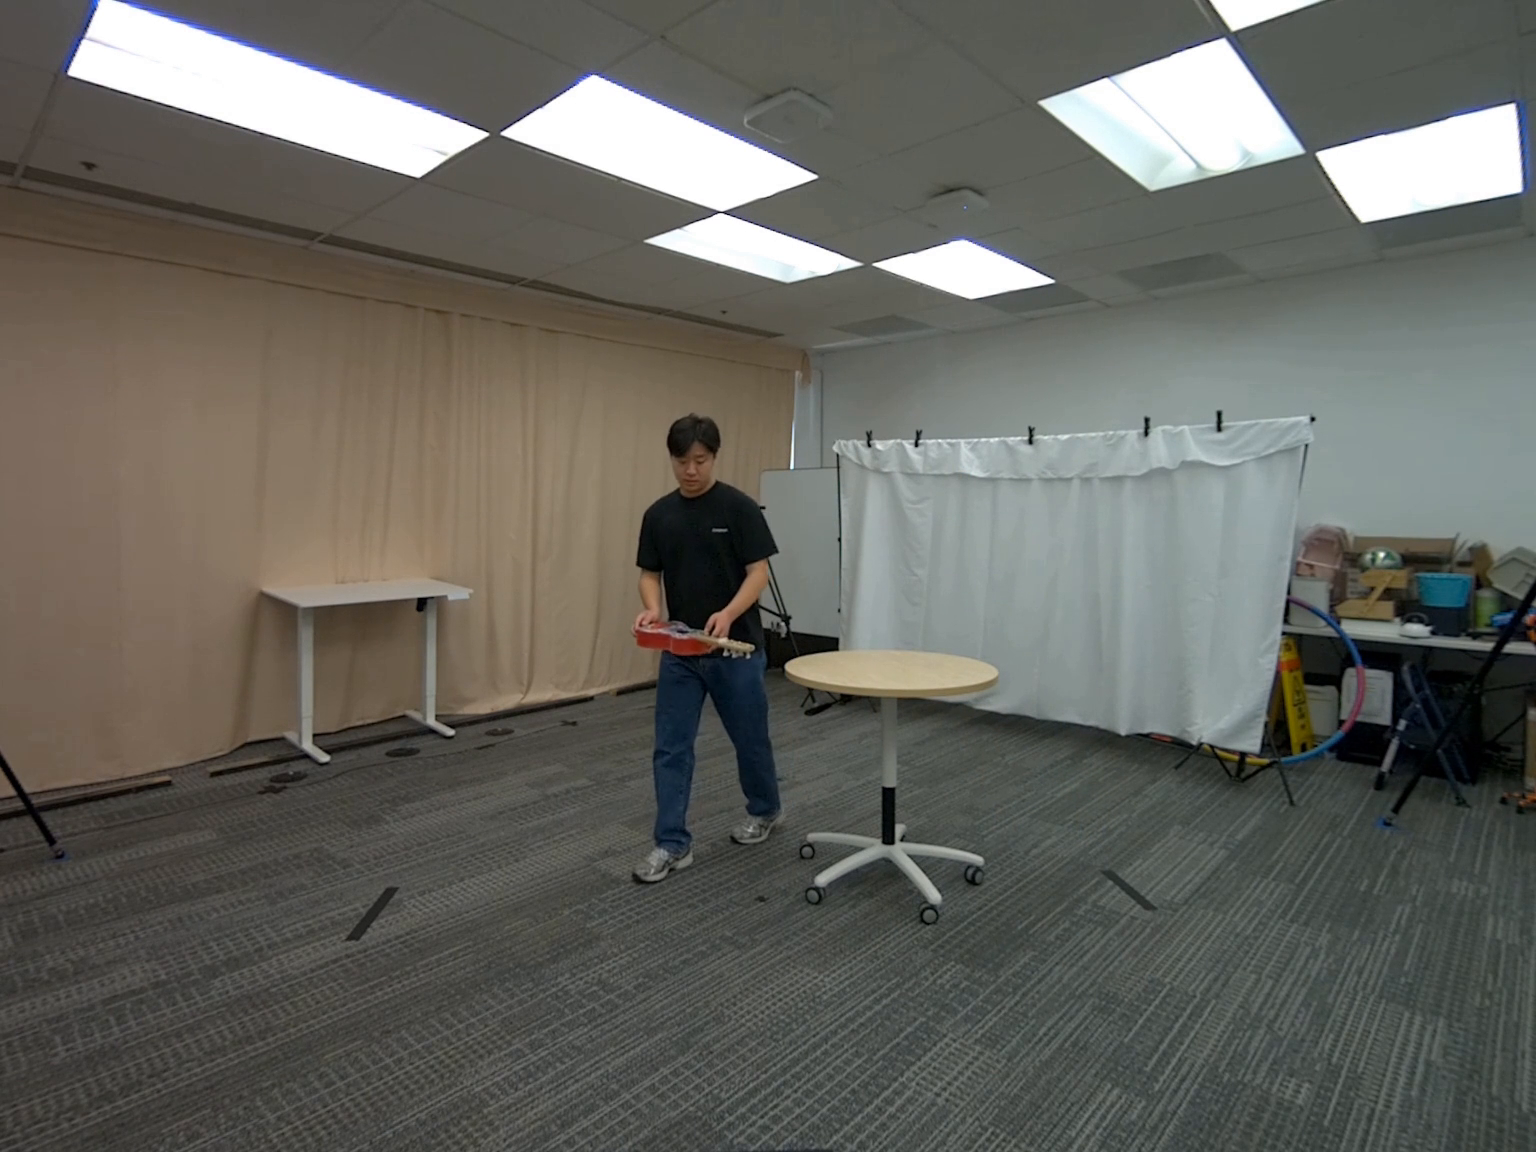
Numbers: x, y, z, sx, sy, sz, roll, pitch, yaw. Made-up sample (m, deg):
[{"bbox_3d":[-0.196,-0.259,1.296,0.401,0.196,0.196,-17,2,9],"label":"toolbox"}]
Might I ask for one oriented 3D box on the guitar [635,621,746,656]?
[{"bbox_3d":[-0.251,0.236,2.895,0.187,0.070,0.515,-6,11,-36],"label":"guitar"}]
